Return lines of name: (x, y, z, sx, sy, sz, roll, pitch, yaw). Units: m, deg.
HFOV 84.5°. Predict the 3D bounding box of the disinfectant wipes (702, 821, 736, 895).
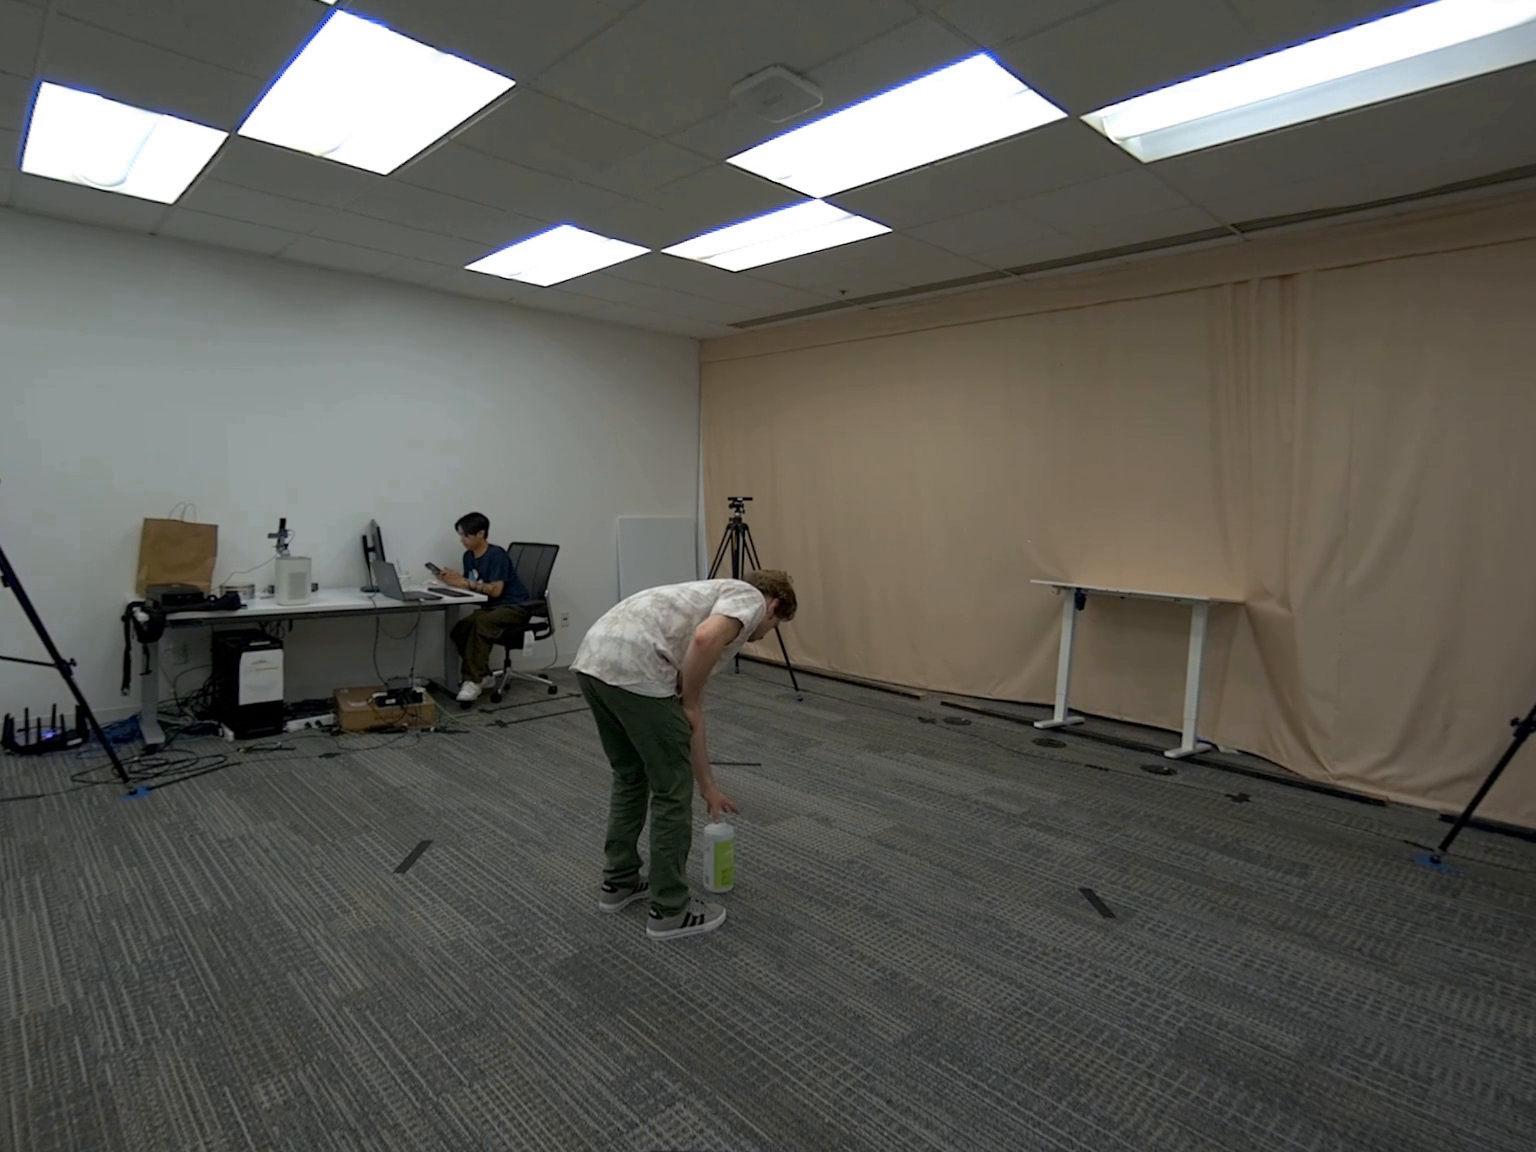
disinfectant wipes: (-0.183, 1.012, 3.007, 0.118, 0.217, 0.118, 0, 3, -1)
